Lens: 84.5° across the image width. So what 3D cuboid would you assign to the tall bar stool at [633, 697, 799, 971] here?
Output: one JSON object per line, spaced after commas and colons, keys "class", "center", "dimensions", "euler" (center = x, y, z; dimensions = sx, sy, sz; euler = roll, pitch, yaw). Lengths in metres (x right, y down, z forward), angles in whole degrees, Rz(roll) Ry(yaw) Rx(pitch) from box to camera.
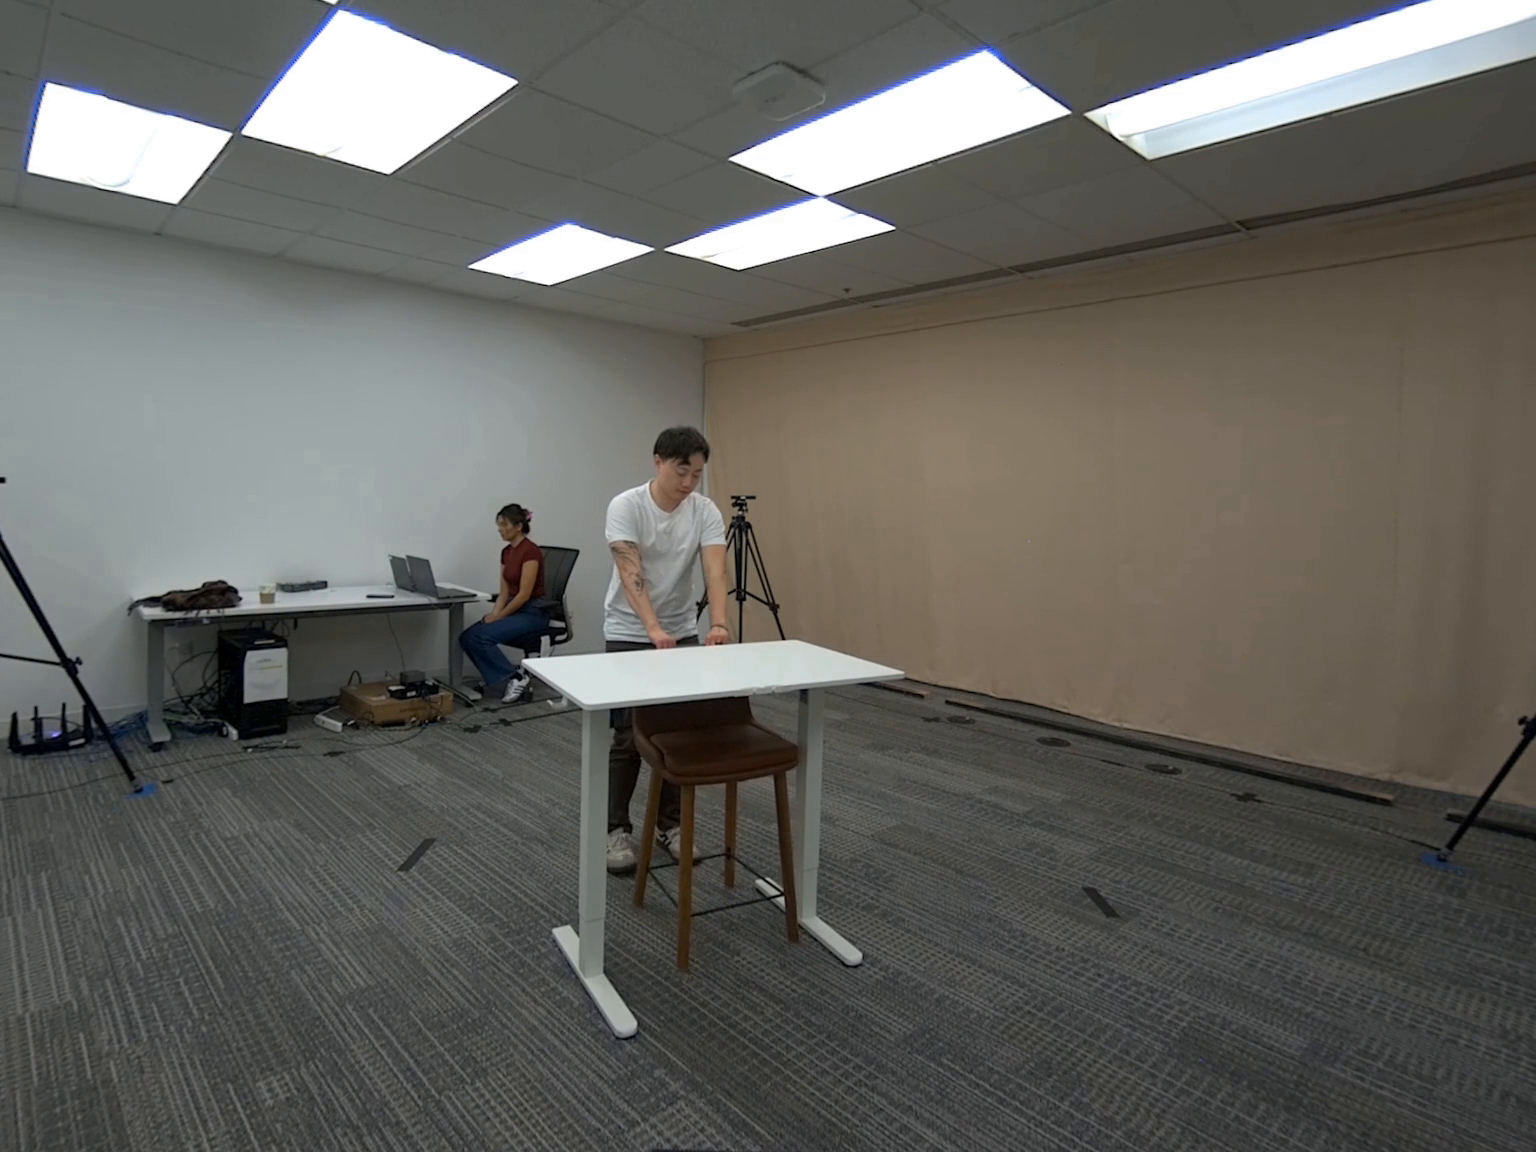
{"class": "tall bar stool", "center": [-0.191, 0.699, 2.738], "dimensions": [0.448, 0.889, 0.477], "euler": [-1, 1, -27]}
